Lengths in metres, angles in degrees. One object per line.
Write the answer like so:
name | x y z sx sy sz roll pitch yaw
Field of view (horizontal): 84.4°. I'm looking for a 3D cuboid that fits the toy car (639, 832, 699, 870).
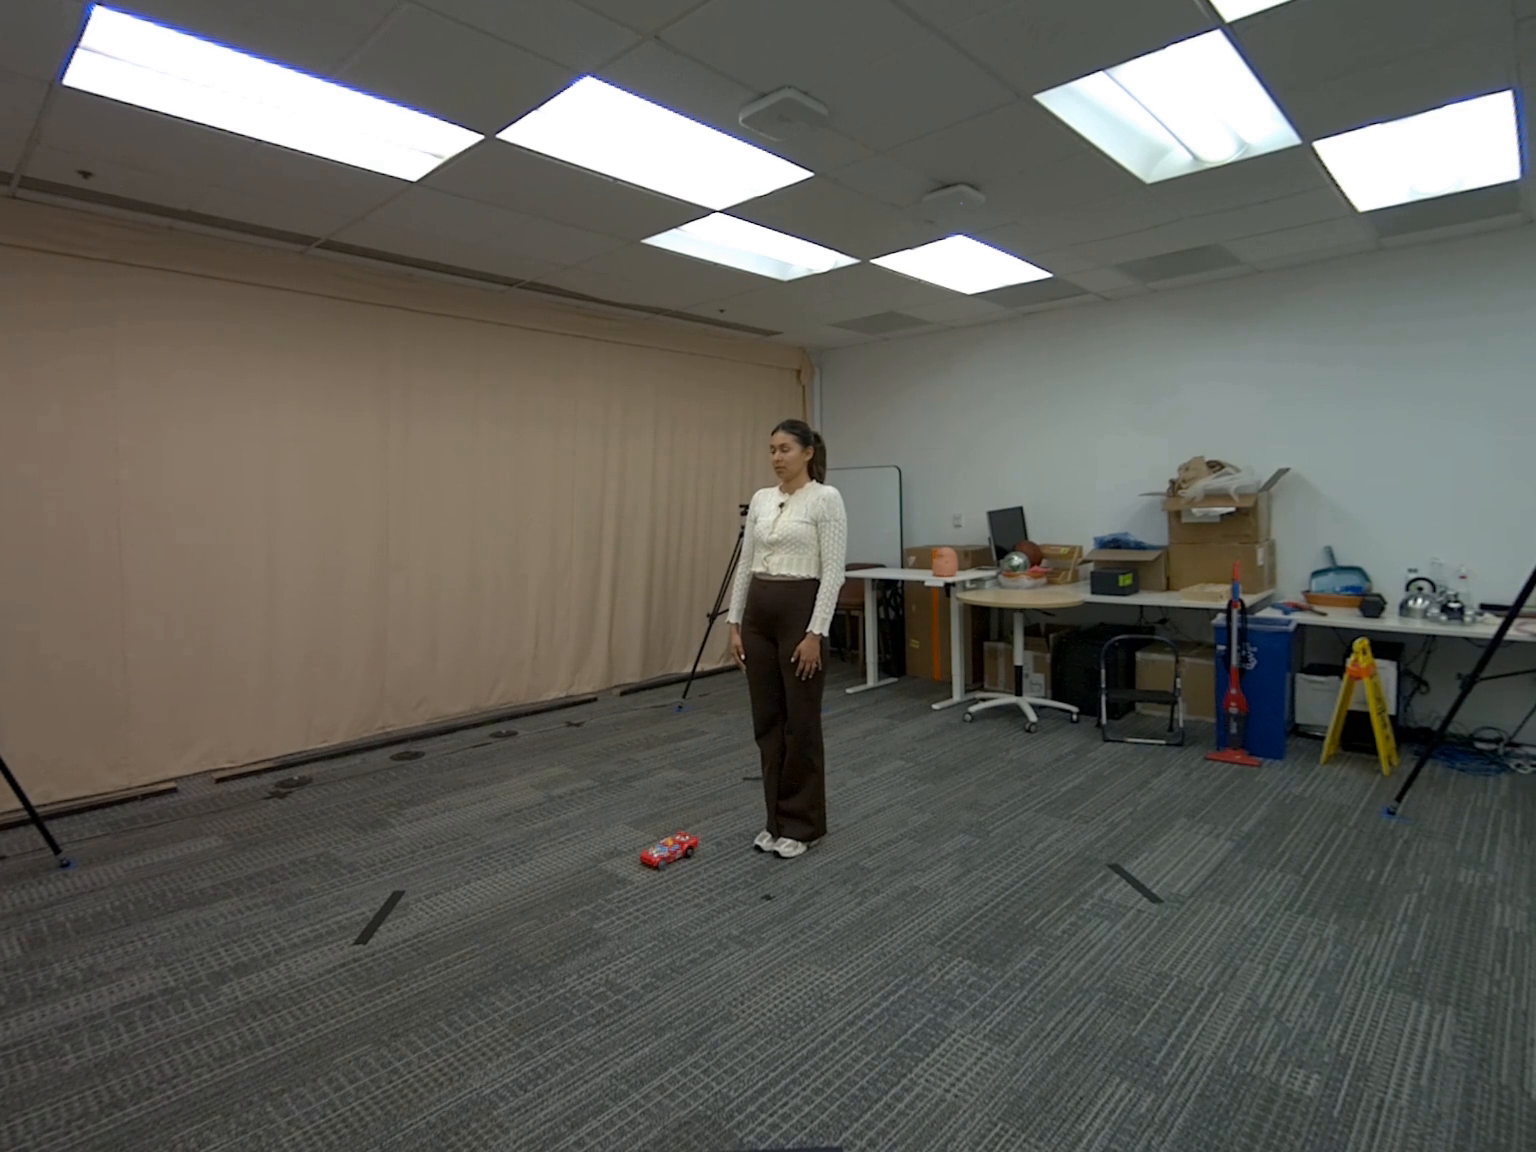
toy car | -0.384 1.088 3.322 0.134 0.082 0.248 1 16 43
